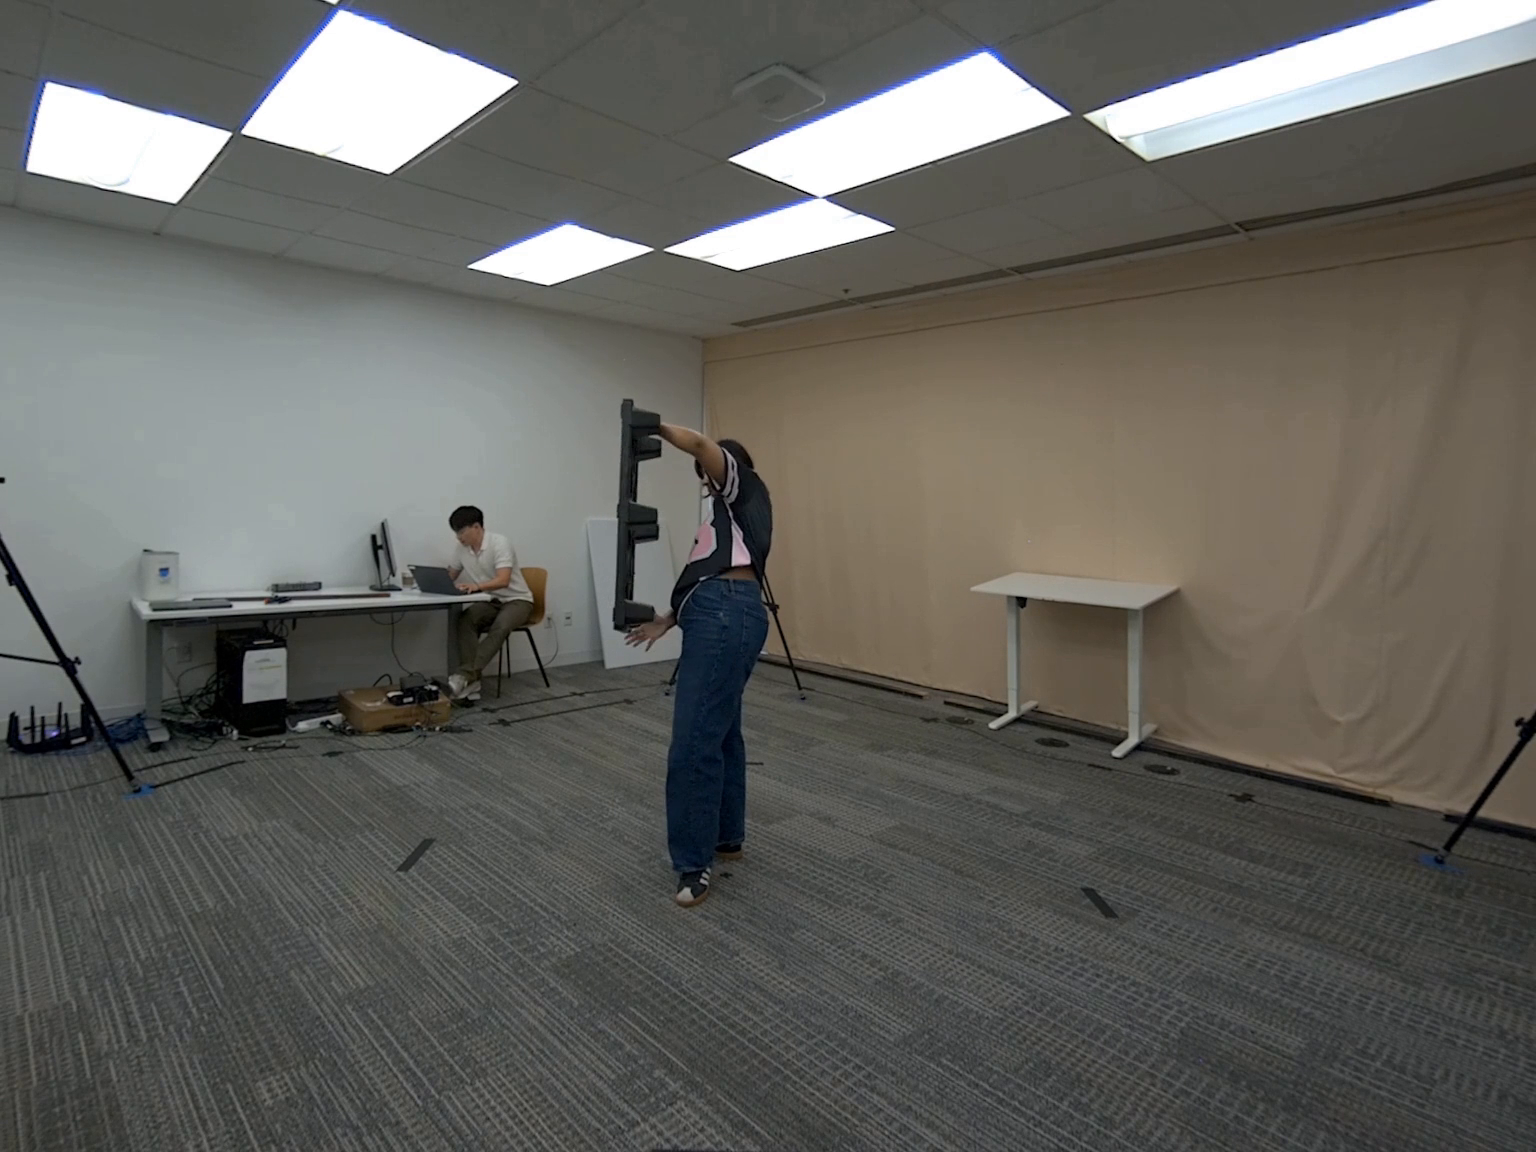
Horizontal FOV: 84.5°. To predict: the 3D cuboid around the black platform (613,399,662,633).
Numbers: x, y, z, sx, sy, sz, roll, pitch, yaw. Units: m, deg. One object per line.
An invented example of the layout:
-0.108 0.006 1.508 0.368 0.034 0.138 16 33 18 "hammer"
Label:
-0.485 -0.188 3.156 0.143 0.810 0.604 2 -7 -6 "black platform"
